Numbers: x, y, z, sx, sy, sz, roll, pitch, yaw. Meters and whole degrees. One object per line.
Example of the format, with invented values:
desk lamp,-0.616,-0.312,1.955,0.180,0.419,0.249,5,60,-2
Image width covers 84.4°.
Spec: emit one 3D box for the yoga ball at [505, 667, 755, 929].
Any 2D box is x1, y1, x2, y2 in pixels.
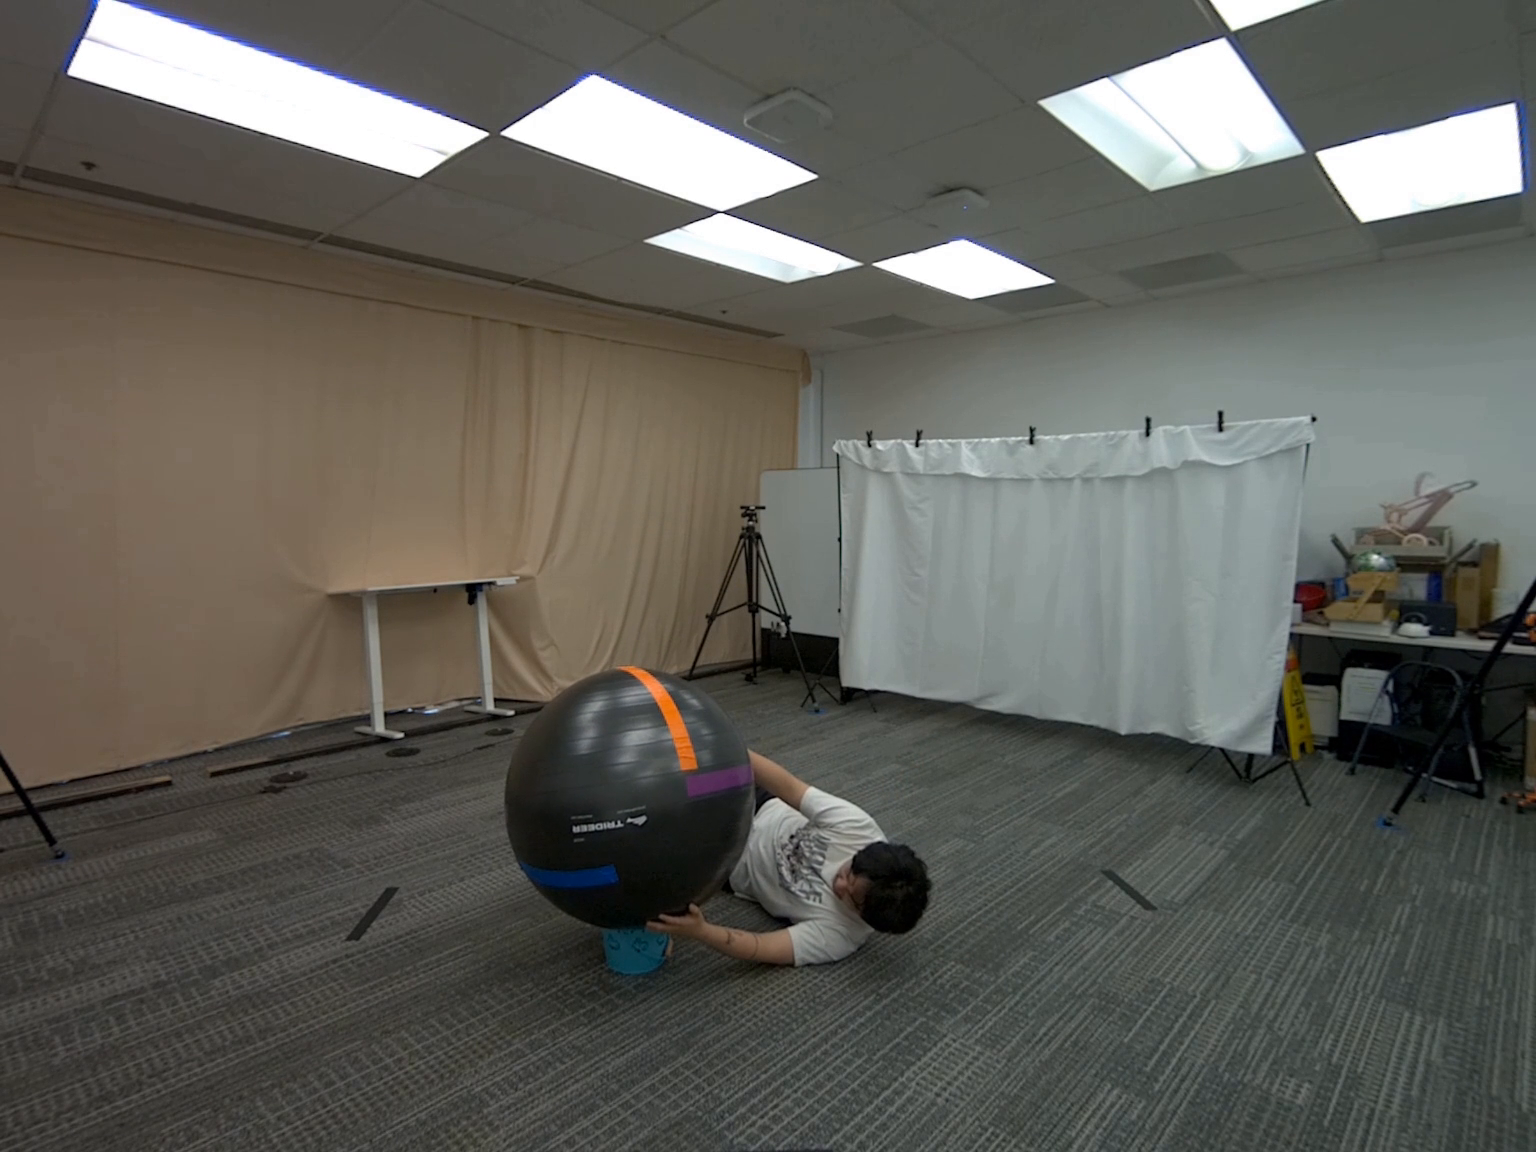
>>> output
yoga ball,-0.423,0.668,2.570,0.757,0.756,0.761,0,4,-2
